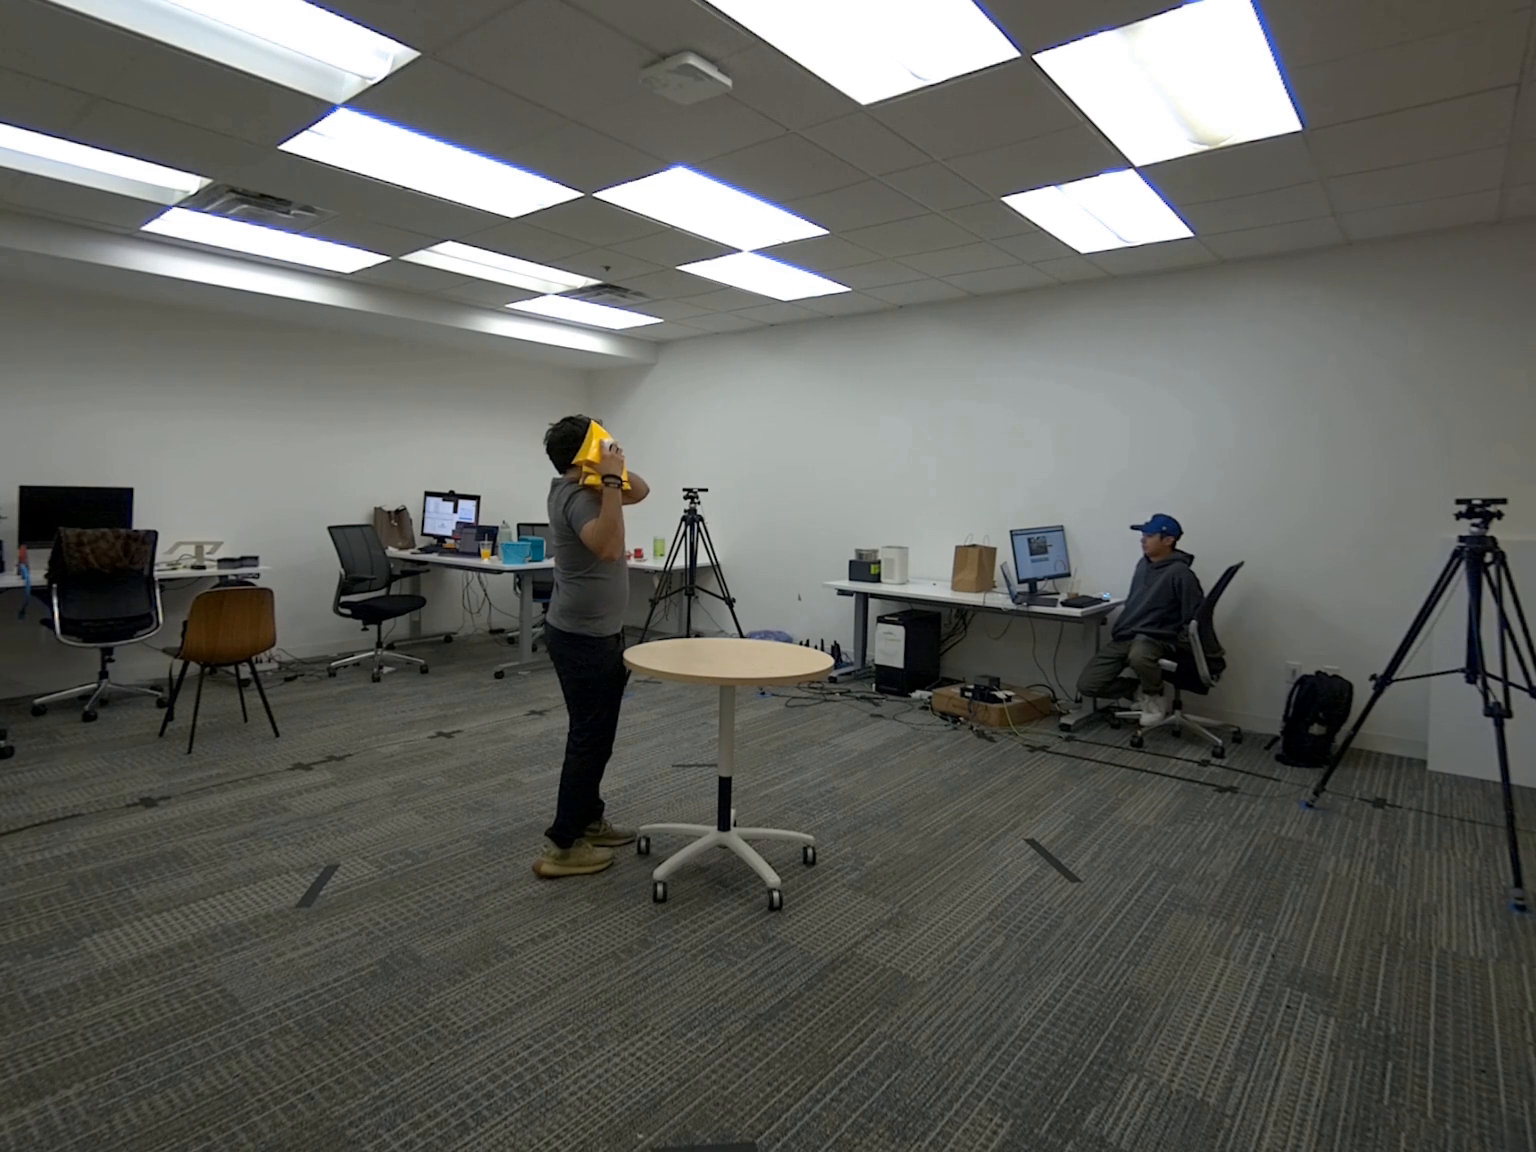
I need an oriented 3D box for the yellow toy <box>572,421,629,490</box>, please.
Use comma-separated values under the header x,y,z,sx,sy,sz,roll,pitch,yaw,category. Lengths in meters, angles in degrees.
x,y,z,sx,sy,sz,roll,pitch,yaw,category
-0.599,-0.436,3.033,0.188,0.231,0.210,7,-3,-28,yellow toy
